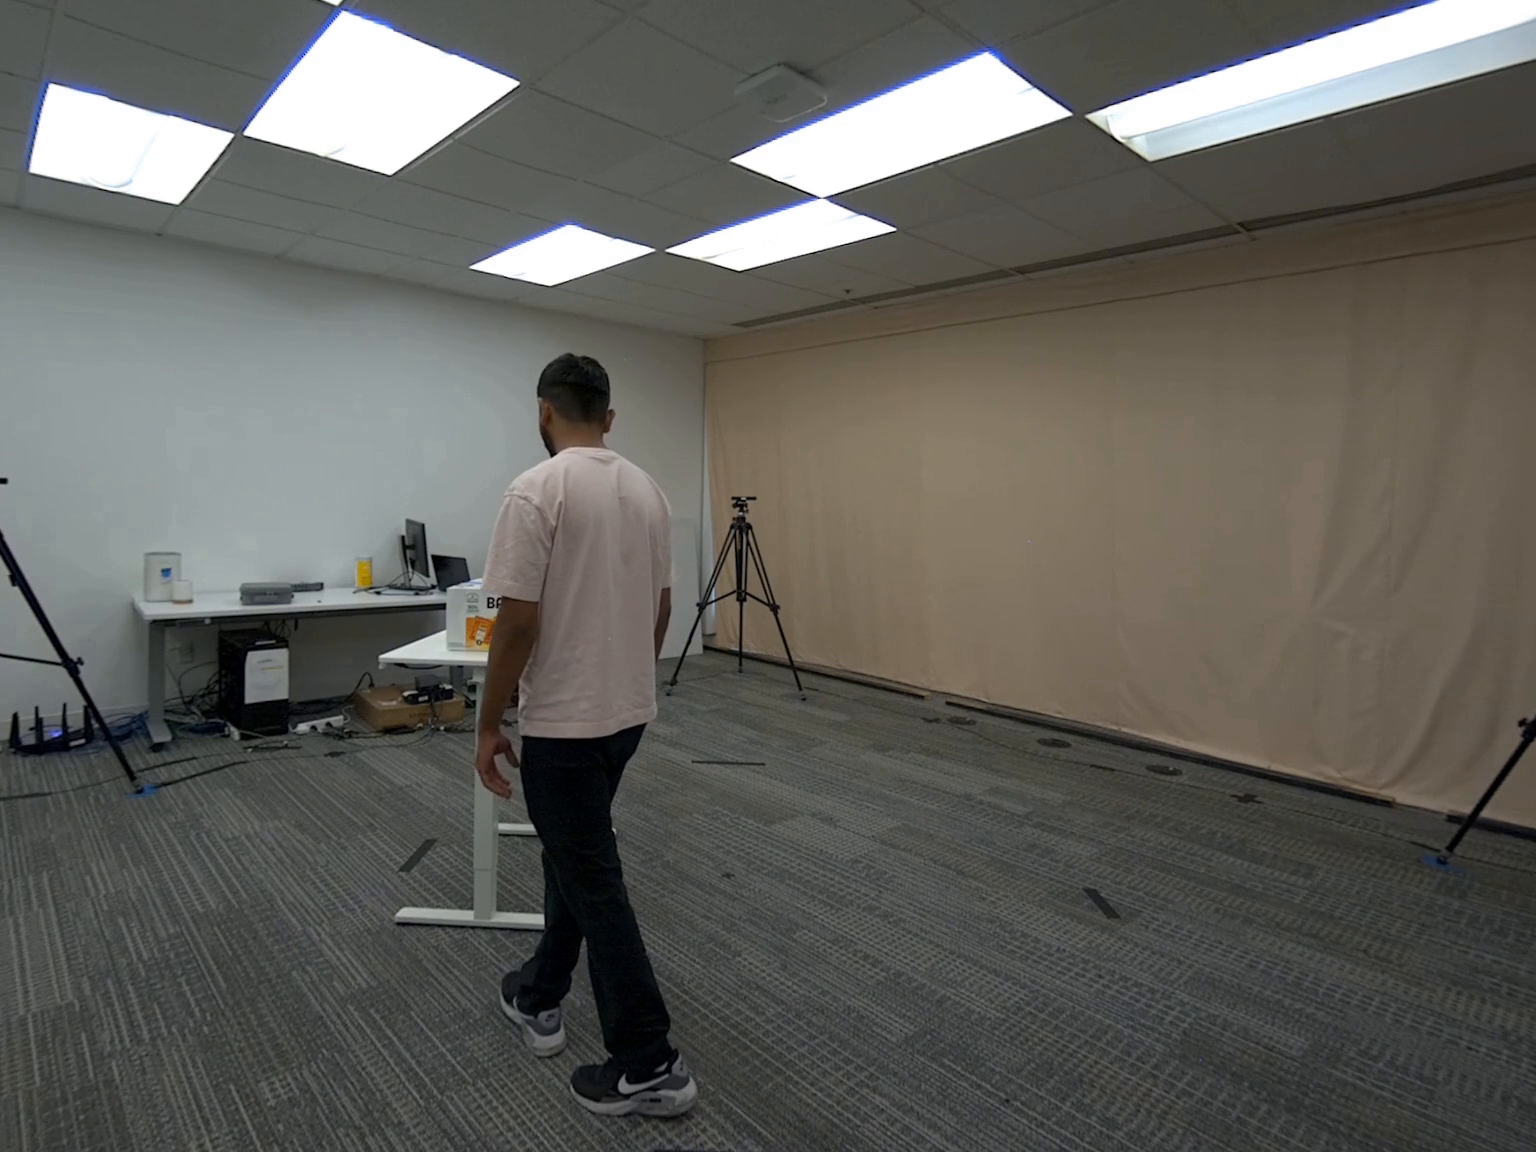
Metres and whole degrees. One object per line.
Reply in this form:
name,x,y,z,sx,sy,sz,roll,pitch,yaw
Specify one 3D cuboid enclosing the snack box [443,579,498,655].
snack box,-0.831,0.131,2.843,0.405,0.205,0.341,1,4,-2
